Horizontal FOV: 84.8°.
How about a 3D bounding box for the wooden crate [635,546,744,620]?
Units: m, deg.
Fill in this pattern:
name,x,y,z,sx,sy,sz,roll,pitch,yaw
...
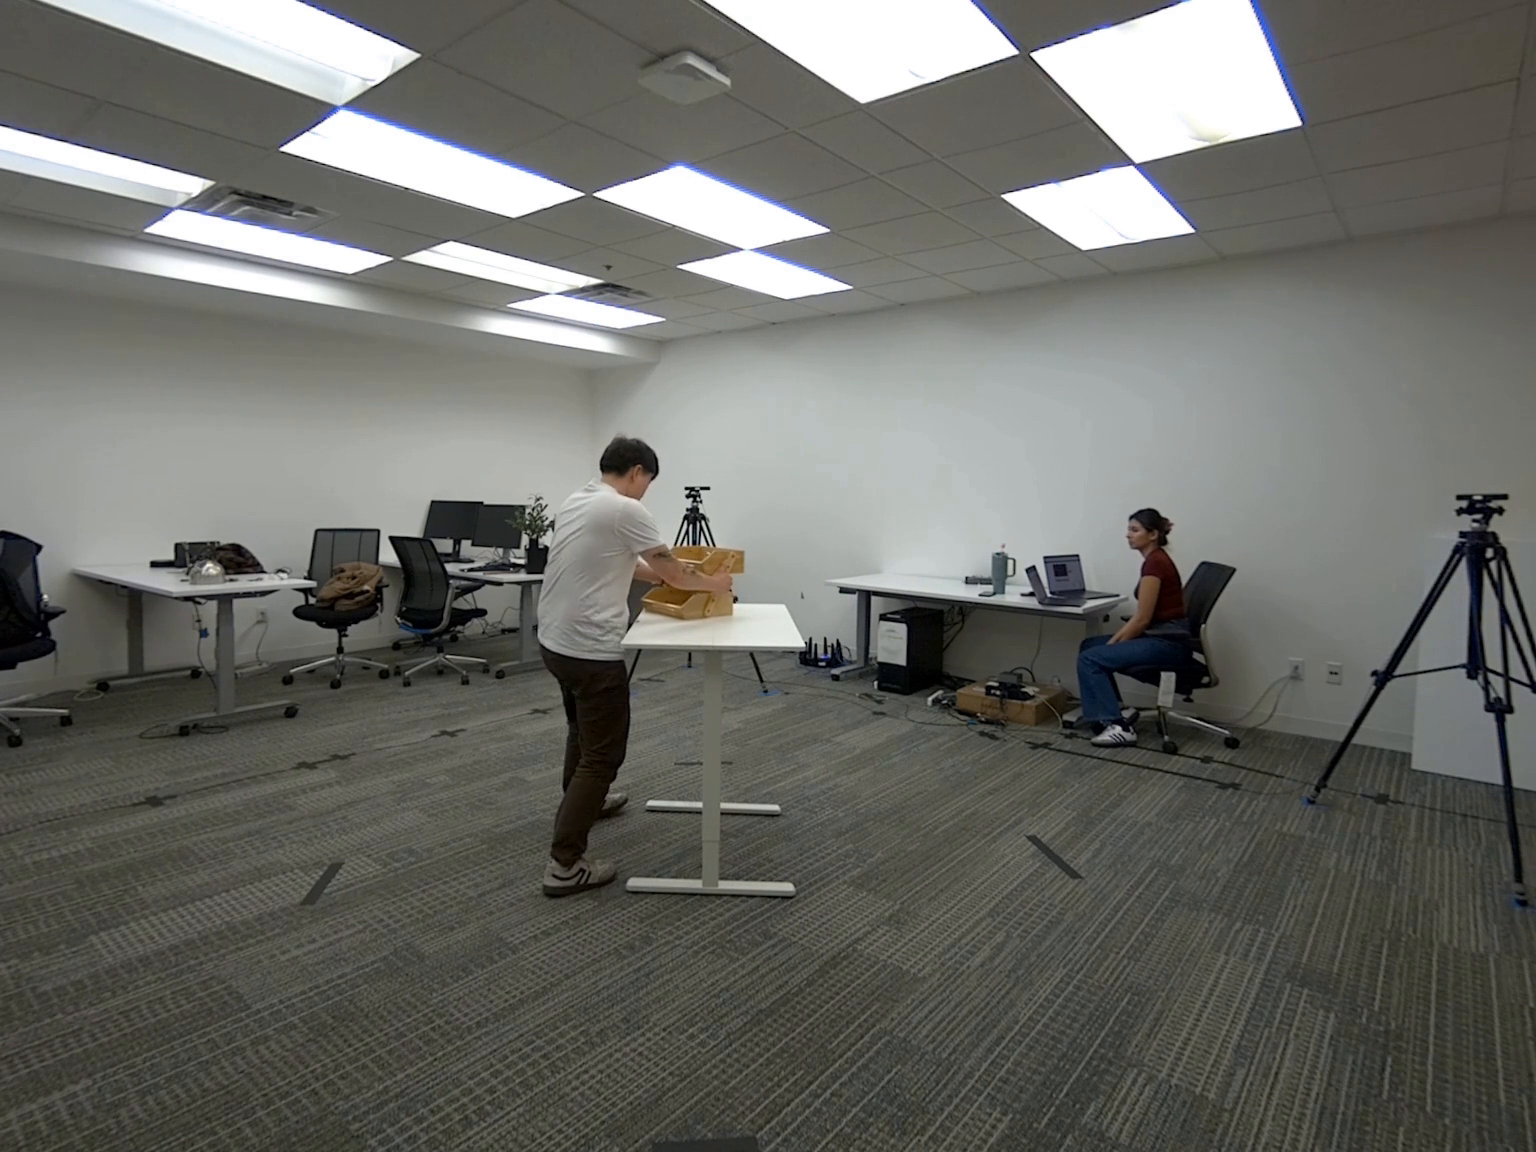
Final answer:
name,x,y,z,sx,sy,sz,roll,pitch,yaw
wooden crate,-0.320,0.015,3.460,0.293,0.272,0.335,-1,6,-37
